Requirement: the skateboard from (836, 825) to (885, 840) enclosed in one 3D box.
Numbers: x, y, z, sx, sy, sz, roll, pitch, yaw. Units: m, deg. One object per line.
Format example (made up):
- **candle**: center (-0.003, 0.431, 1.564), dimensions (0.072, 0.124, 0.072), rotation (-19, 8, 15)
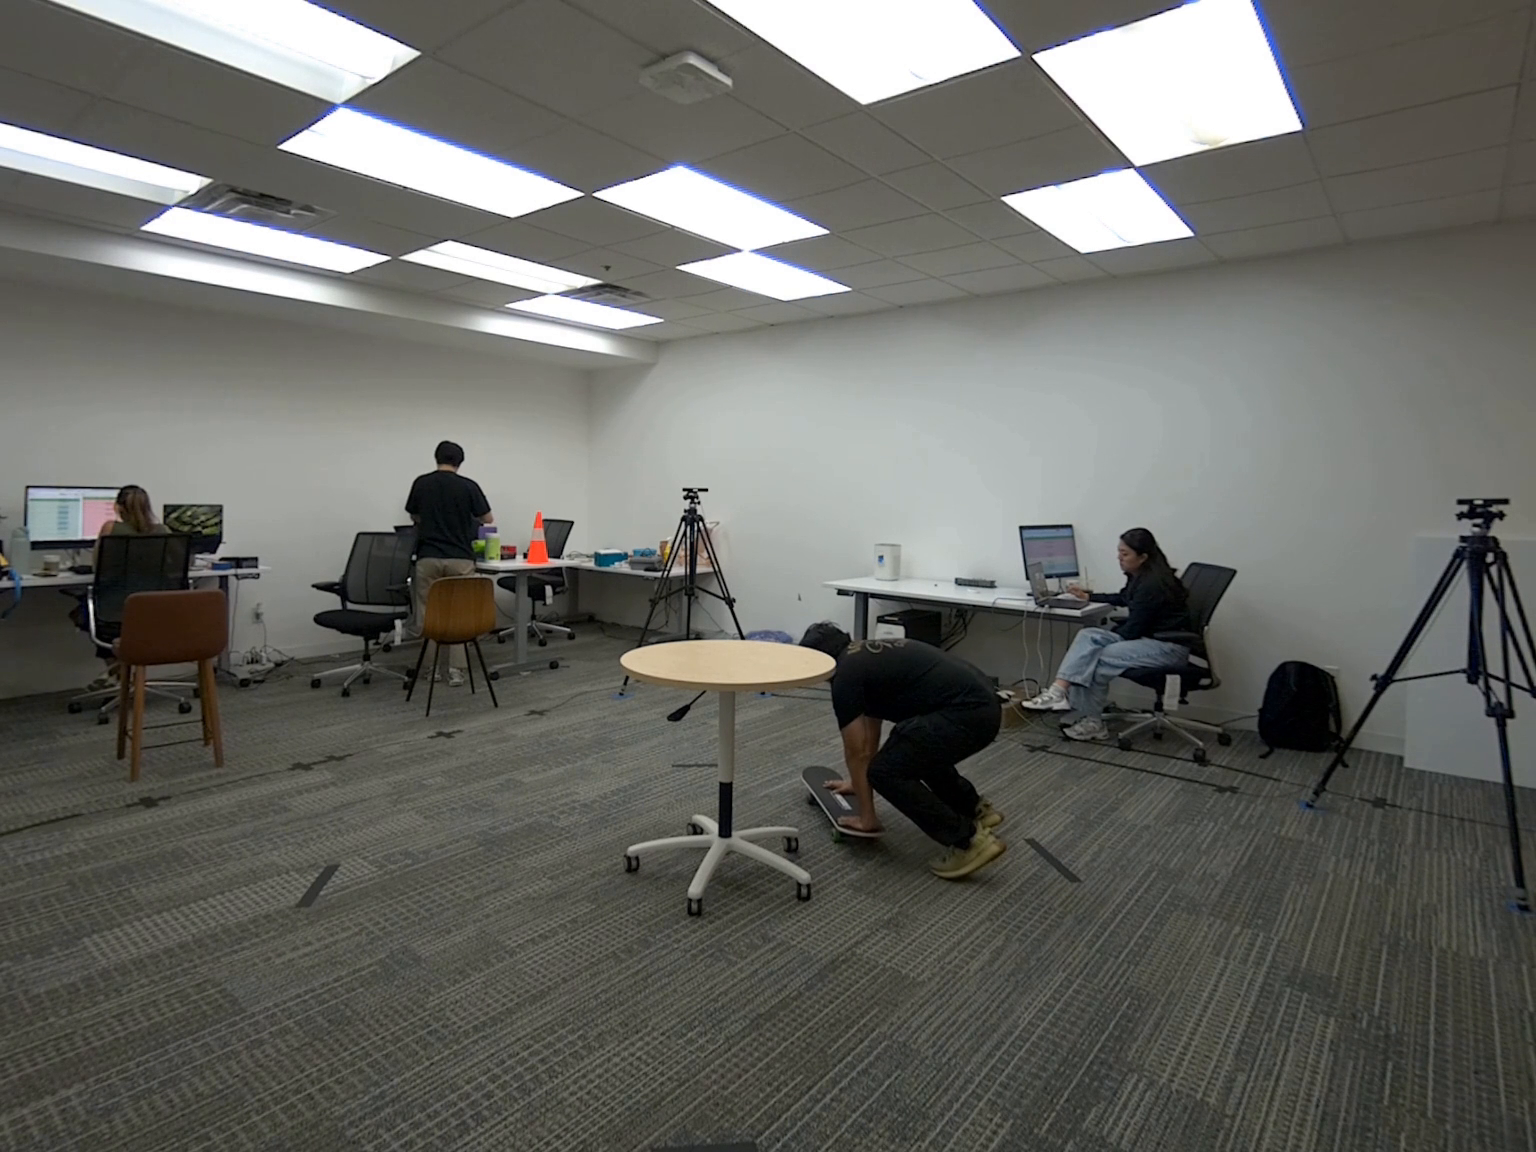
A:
- **skateboard**: center (0.292, 0.968, 3.596), dimensions (0.191, 0.110, 0.798), rotation (2, 6, -12)
